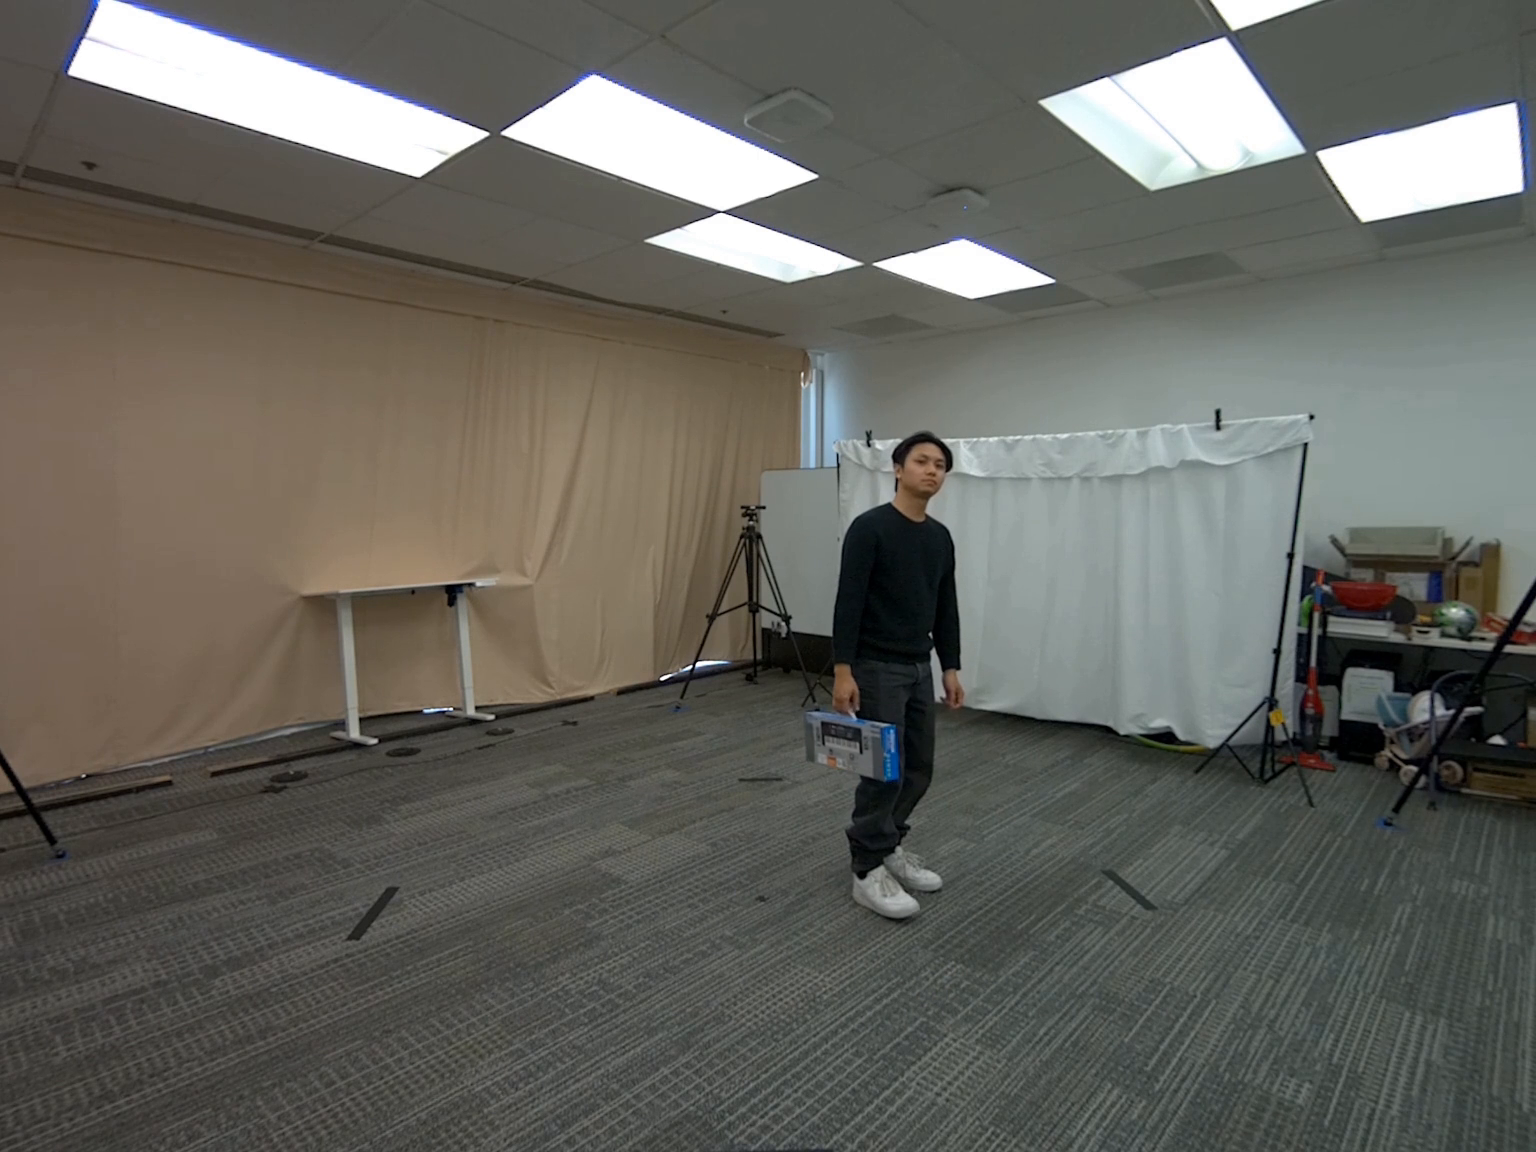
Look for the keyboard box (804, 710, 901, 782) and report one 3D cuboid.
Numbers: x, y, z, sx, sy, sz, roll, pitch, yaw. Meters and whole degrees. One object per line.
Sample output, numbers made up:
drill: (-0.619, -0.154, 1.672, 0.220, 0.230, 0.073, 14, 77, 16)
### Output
keyboard box: (0.278, 0.575, 2.875, 0.057, 0.176, 0.448, -2, -1, -31)
